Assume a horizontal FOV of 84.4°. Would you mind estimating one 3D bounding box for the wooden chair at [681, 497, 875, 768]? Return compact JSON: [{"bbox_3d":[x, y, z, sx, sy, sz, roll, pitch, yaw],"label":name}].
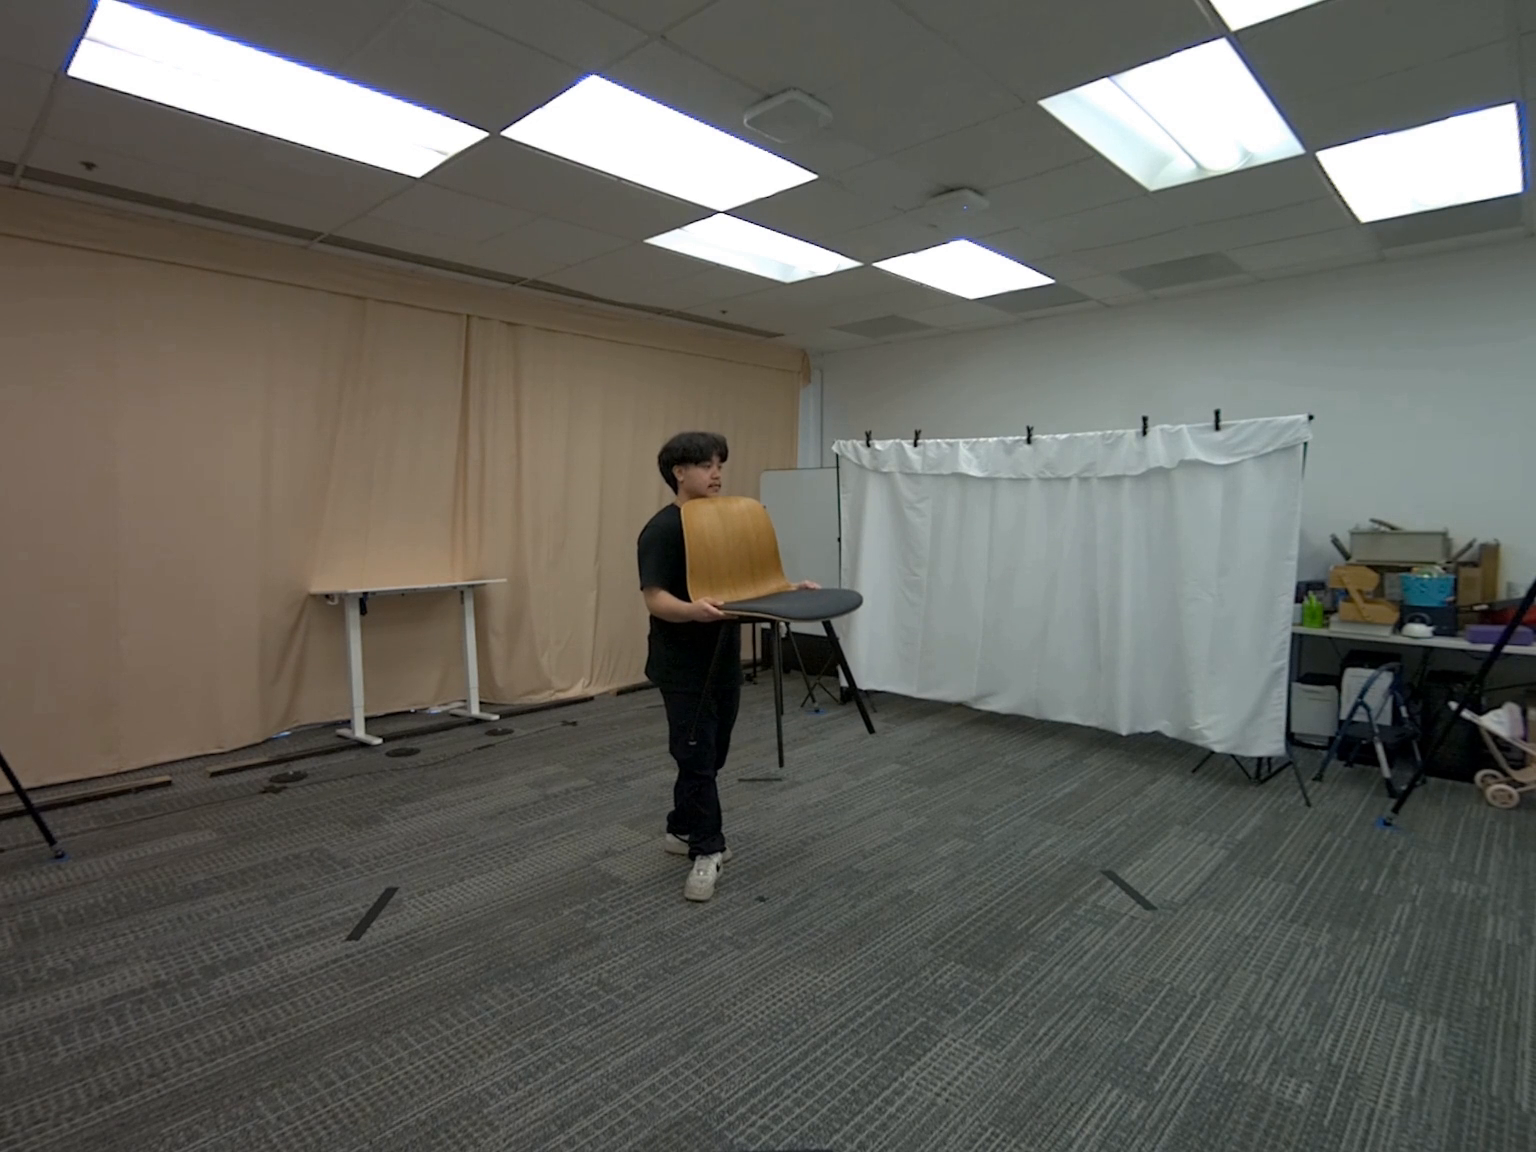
[{"bbox_3d":[0.023,0.142,2.859,0.464,0.877,0.539,-6,0,-41],"label":"wooden chair"}]
